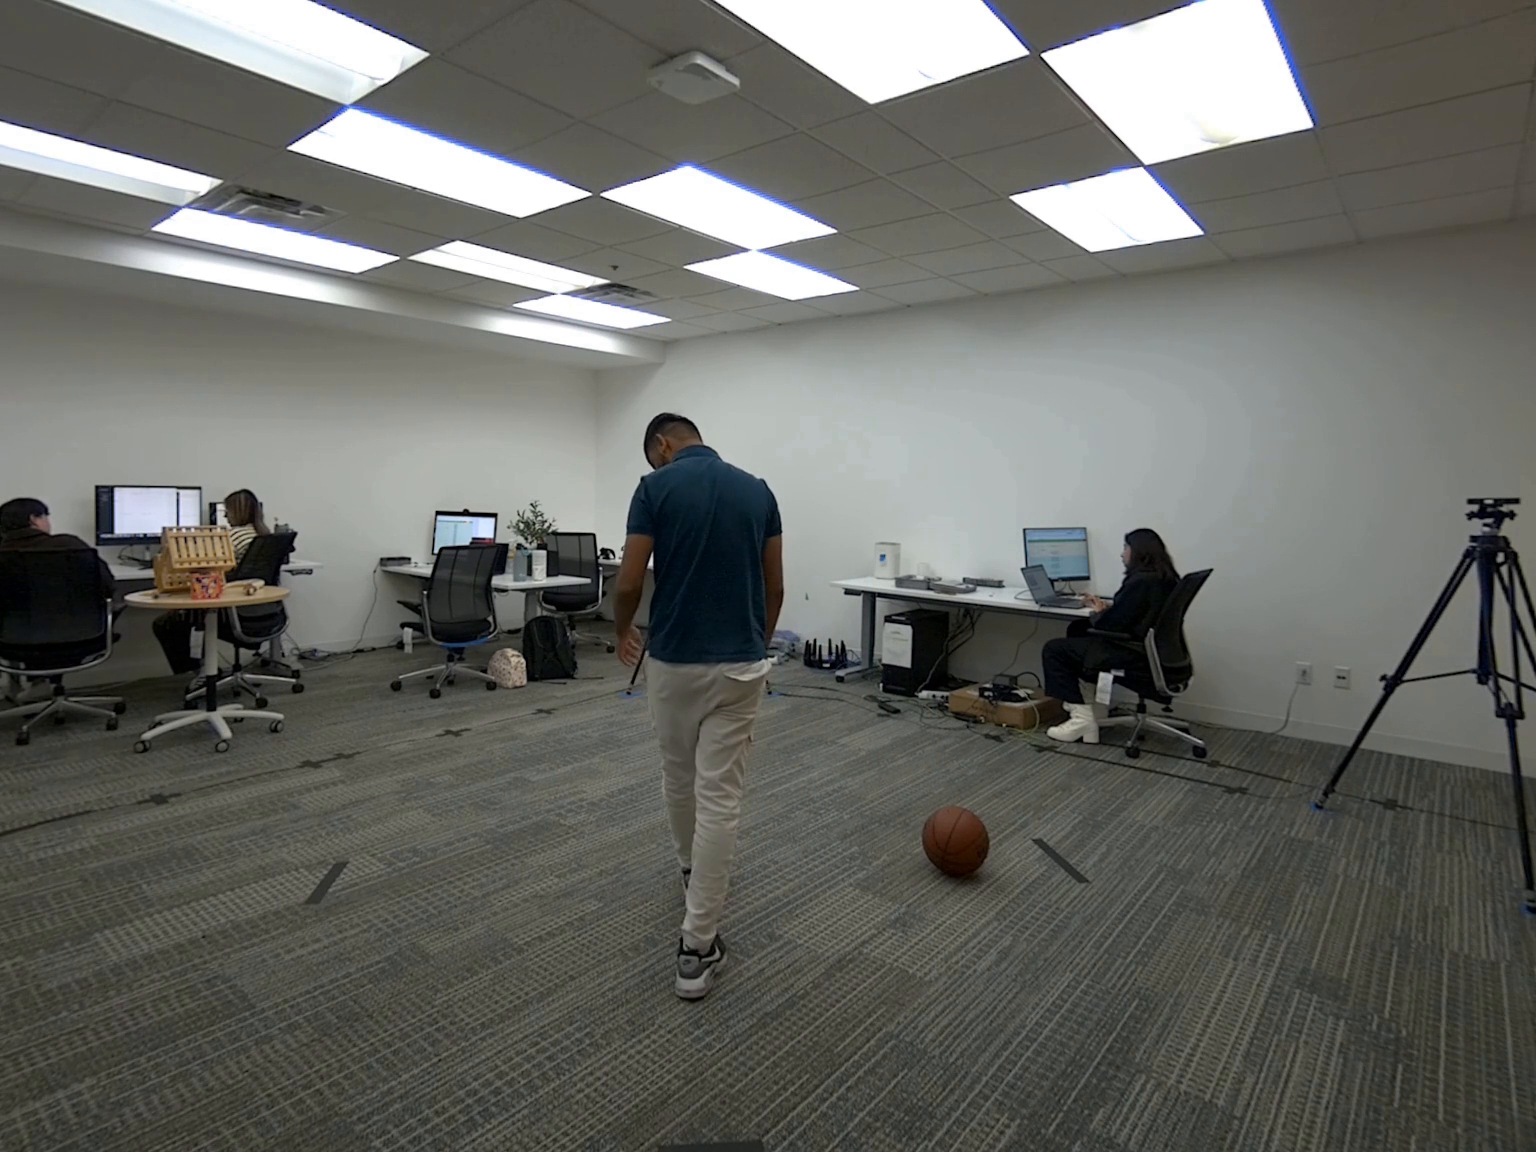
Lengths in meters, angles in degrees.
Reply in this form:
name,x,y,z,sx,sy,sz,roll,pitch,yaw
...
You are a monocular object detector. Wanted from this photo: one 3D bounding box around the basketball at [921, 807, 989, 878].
name,x,y,z,sx,sy,sz,roll,pitch,yaw
basketball,0.684,0.964,3.129,0.235,0.235,0.237,1,4,-2
